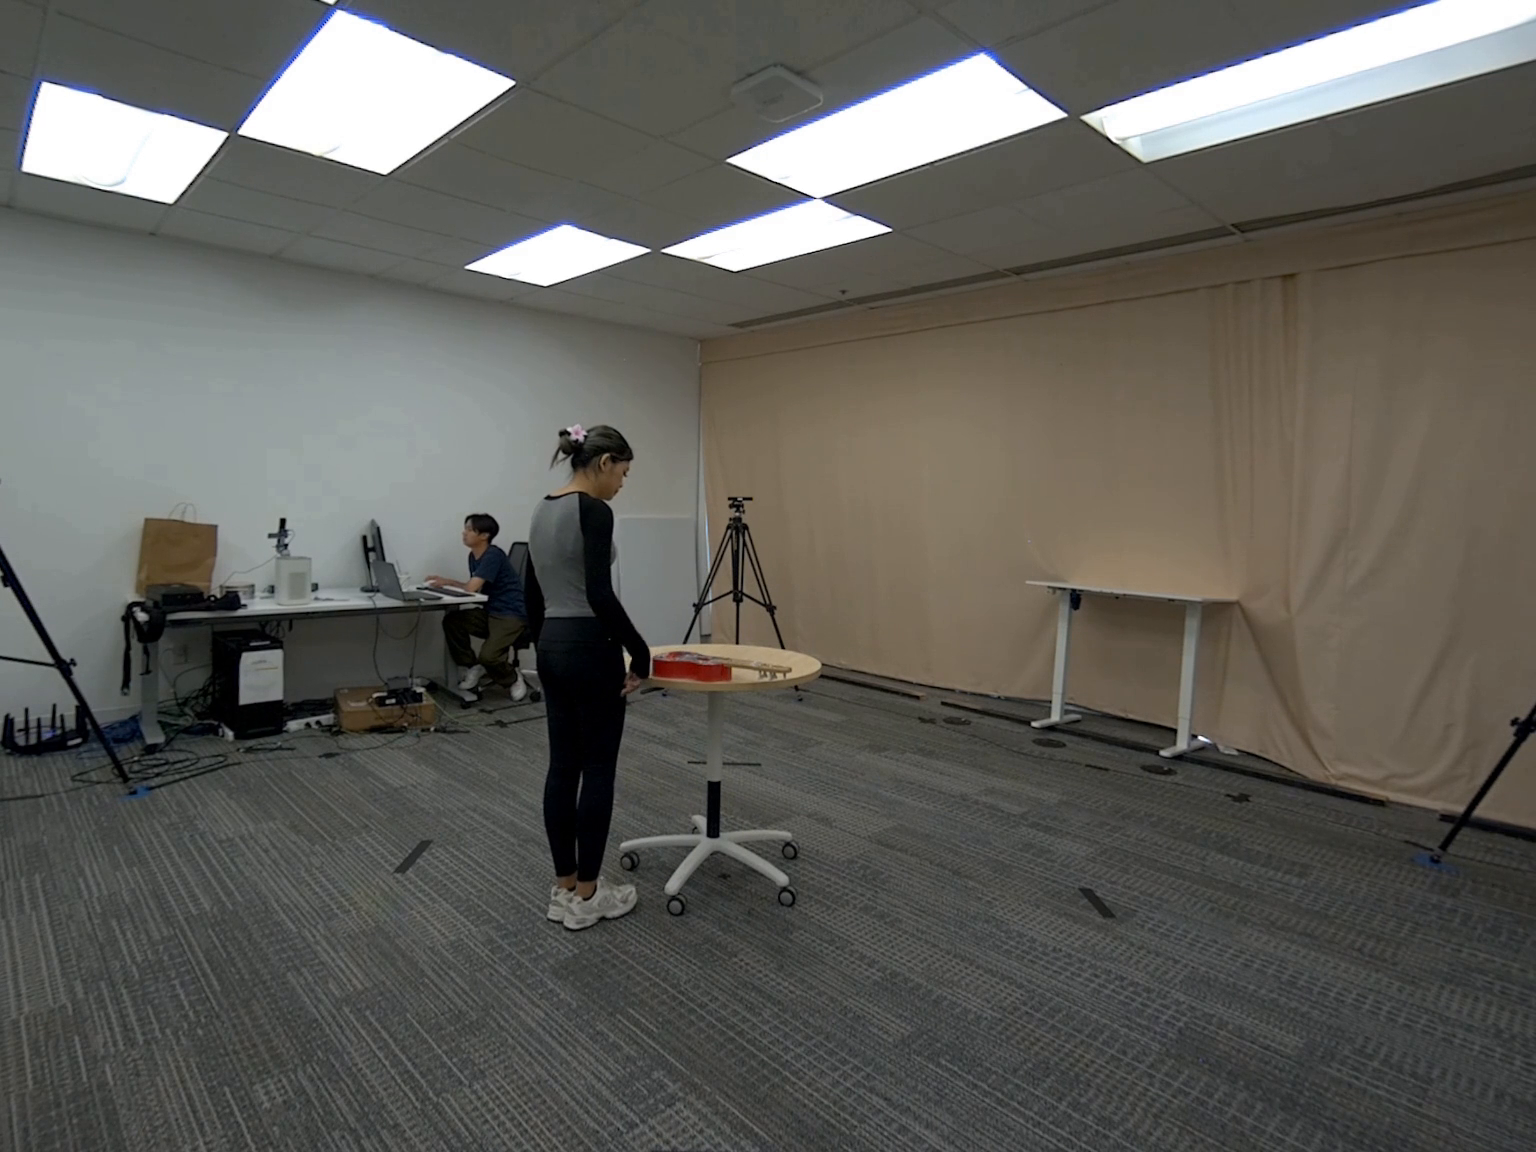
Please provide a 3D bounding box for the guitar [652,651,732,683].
[{"bbox_3d":[-0.172,0.313,2.739,0.510,0.070,0.189,5,6,39],"label":"guitar"}]
